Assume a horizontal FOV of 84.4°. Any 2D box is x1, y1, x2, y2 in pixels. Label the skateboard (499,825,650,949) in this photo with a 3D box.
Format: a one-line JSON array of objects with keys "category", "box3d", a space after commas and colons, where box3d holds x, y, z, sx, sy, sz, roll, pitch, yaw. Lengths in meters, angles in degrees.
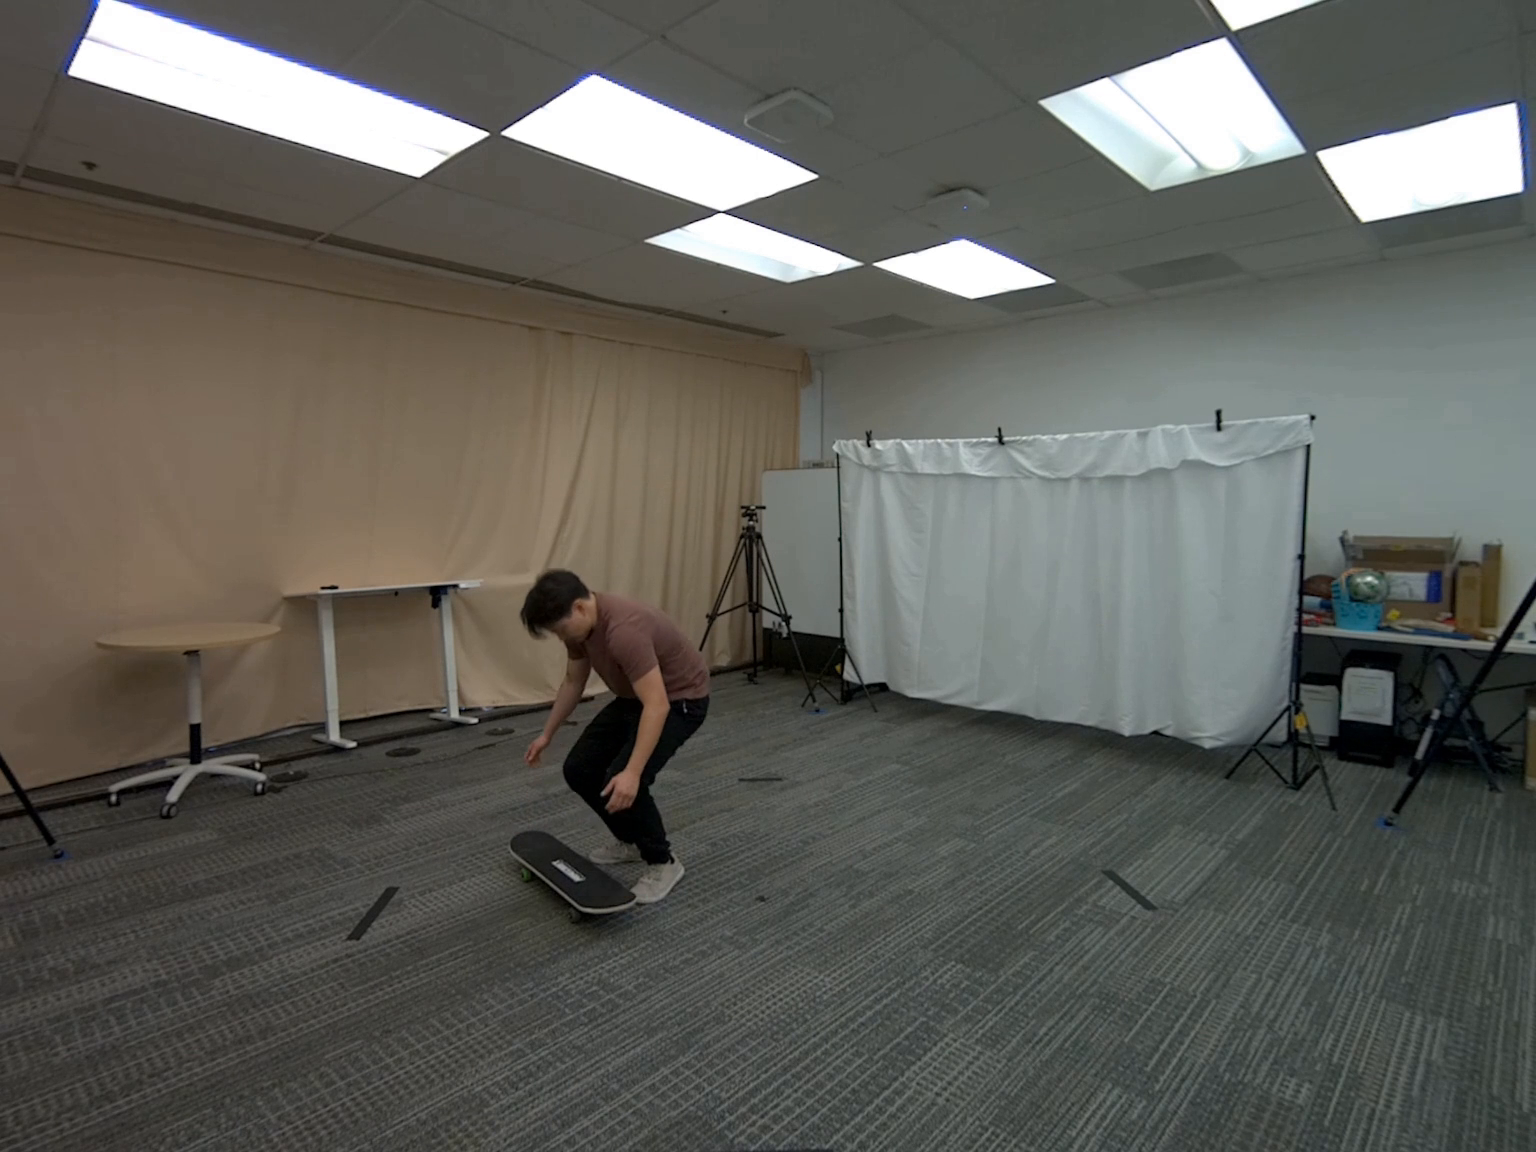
[{"category": "skateboard", "box3d": [-0.717, 1.085, 3.033, 0.188, 0.110, 0.811, -6, 7, -38]}]
